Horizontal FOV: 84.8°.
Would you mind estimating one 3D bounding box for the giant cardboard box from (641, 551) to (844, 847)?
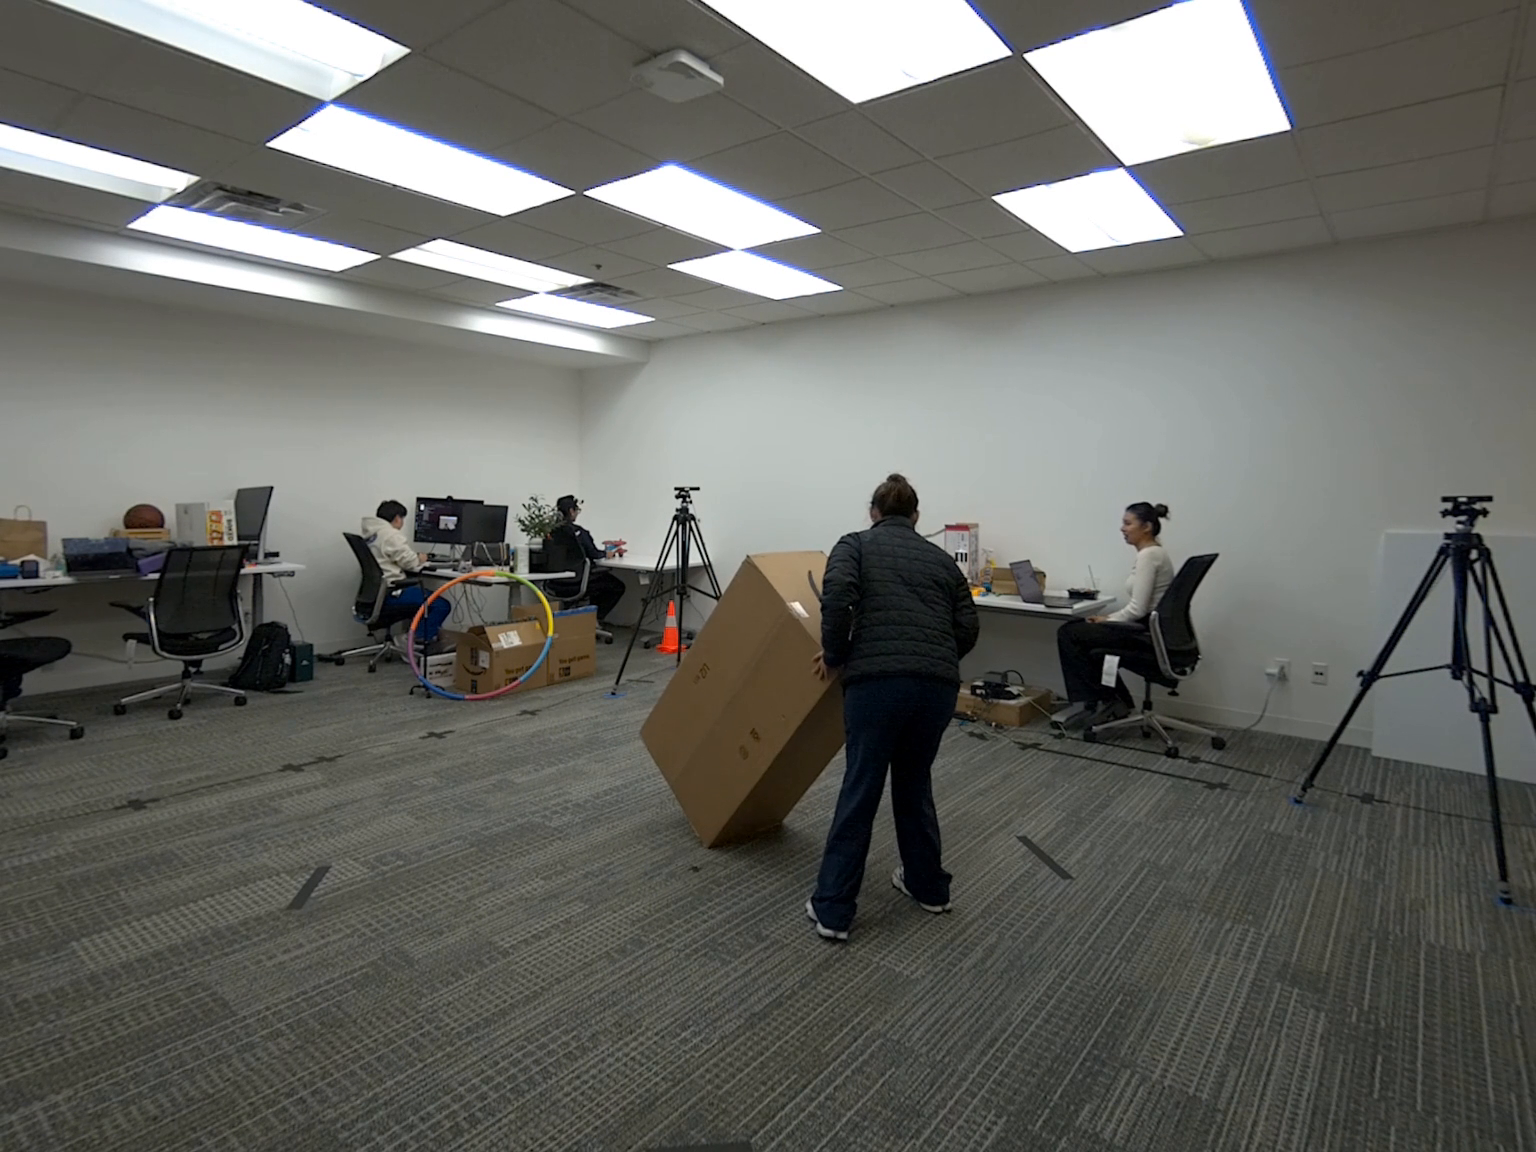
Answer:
[{"bbox_3d":[0.003,0.472,3.333,0.433,1.020,0.607,0,43,-44],"label":"giant cardboard box"}]
